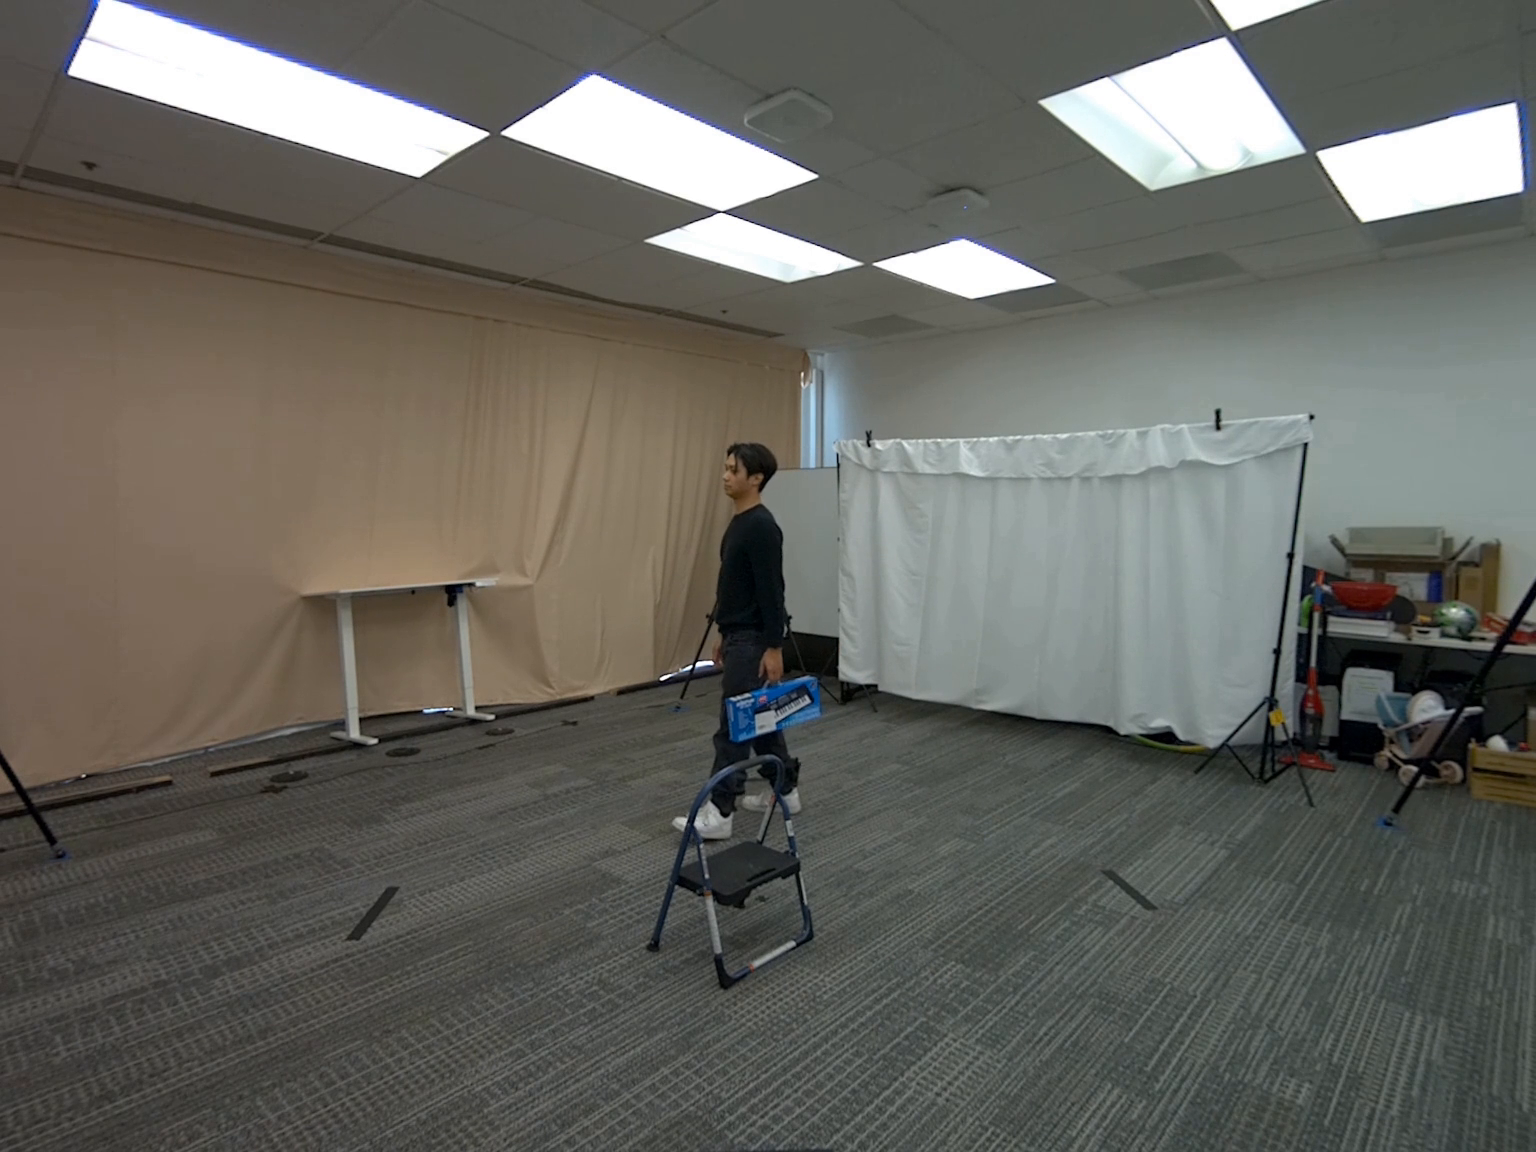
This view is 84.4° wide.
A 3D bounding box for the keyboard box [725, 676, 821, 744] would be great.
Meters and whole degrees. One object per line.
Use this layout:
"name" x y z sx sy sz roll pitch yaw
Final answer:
"keyboard box" 0.025 0.552 3.519 0.426 0.175 0.061 -11 7 -33
